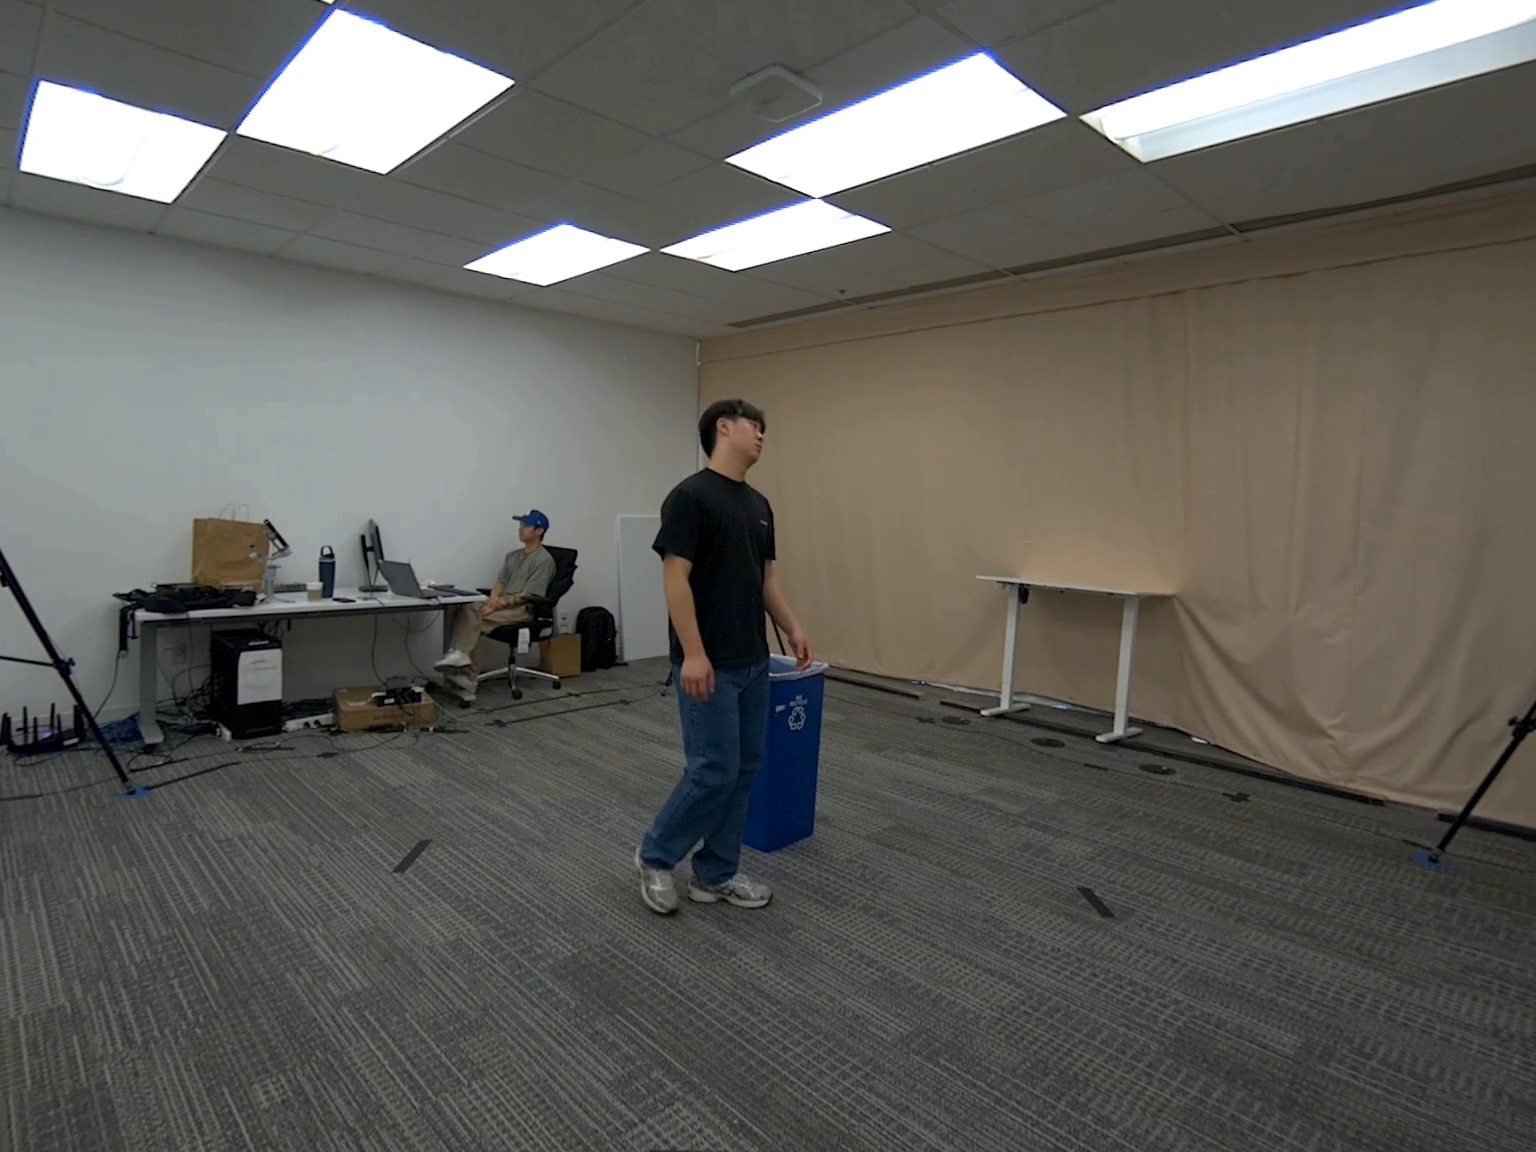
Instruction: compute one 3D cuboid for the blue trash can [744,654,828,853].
[{"bbox_3d":[-0.006,0.718,3.507,0.388,0.712,0.365,5,5,42],"label":"blue trash can"}]
